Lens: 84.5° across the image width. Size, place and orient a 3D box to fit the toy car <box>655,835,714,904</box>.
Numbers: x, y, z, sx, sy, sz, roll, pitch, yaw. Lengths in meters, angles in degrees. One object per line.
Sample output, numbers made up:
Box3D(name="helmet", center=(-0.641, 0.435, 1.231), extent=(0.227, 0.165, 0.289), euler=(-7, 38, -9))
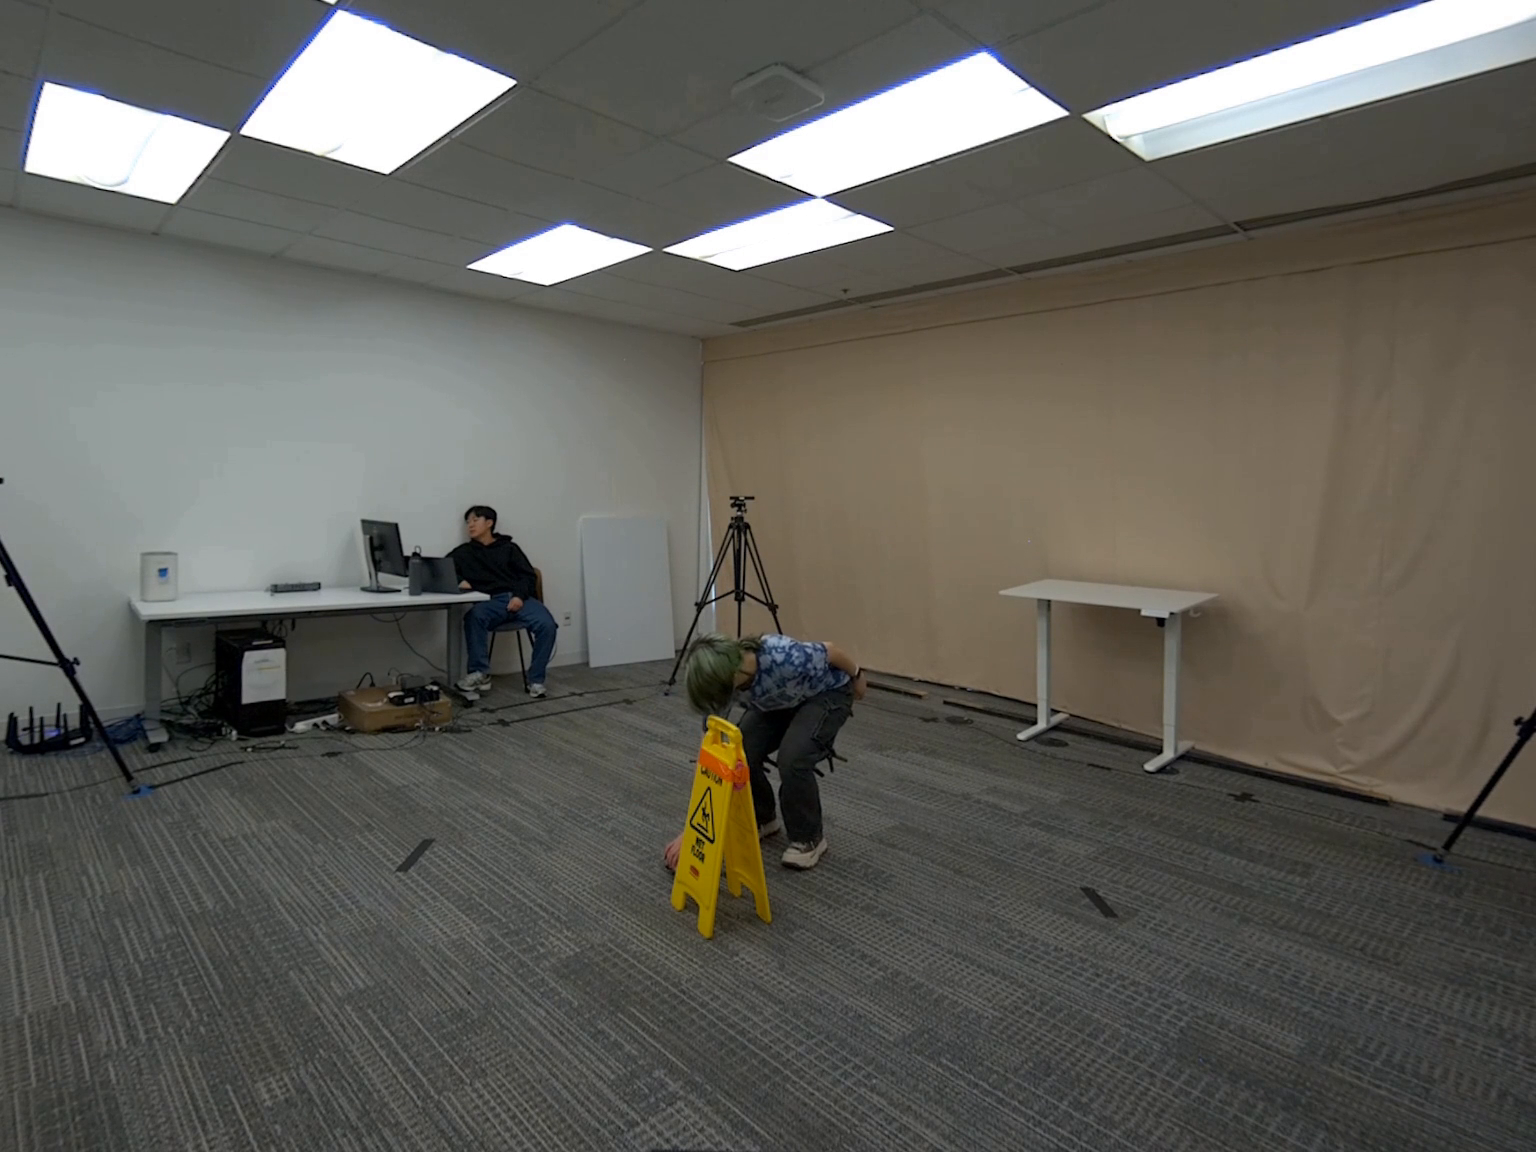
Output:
Box3D(name="toy car", center=(-0.310, 1.062, 3.079), extent=(0.128, 0.082, 0.261), euler=(2, 18, -24))
